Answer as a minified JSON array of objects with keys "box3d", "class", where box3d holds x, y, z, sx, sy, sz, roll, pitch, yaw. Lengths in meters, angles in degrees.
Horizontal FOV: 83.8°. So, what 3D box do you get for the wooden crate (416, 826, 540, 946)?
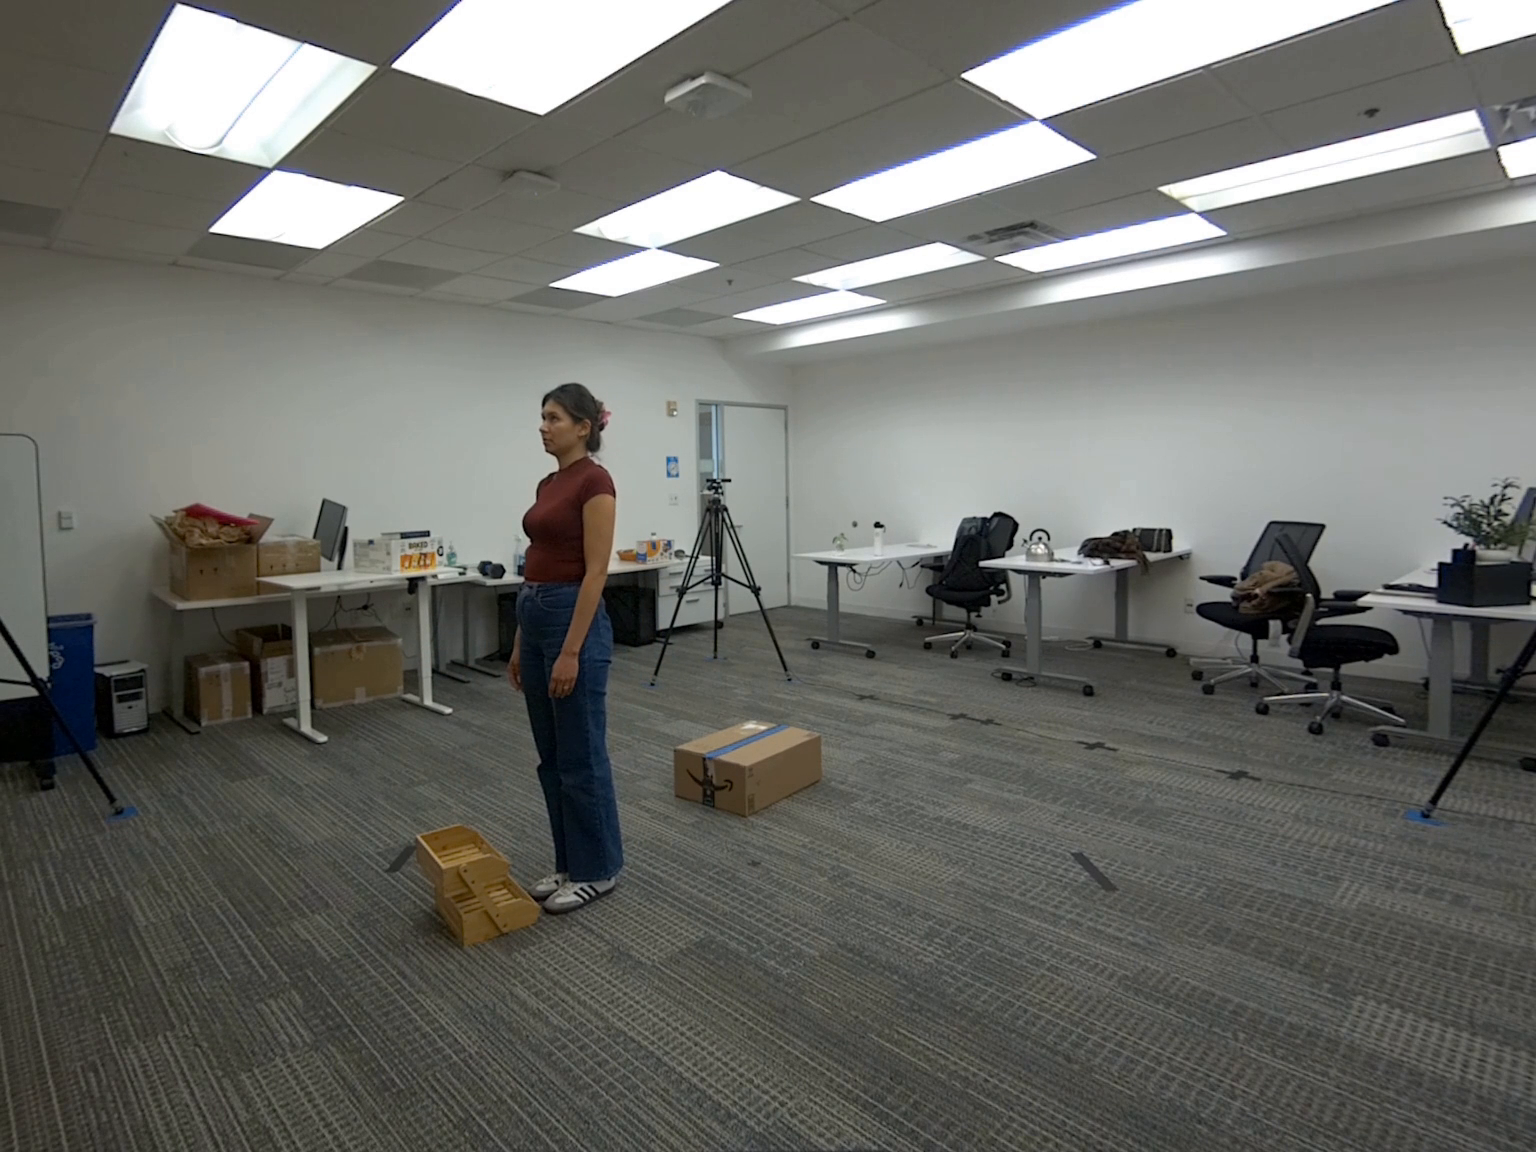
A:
[{"box3d":[-0.940,0.963,2.753,0.294,0.272,0.334,-6,7,-36],"class":"wooden crate"}]
